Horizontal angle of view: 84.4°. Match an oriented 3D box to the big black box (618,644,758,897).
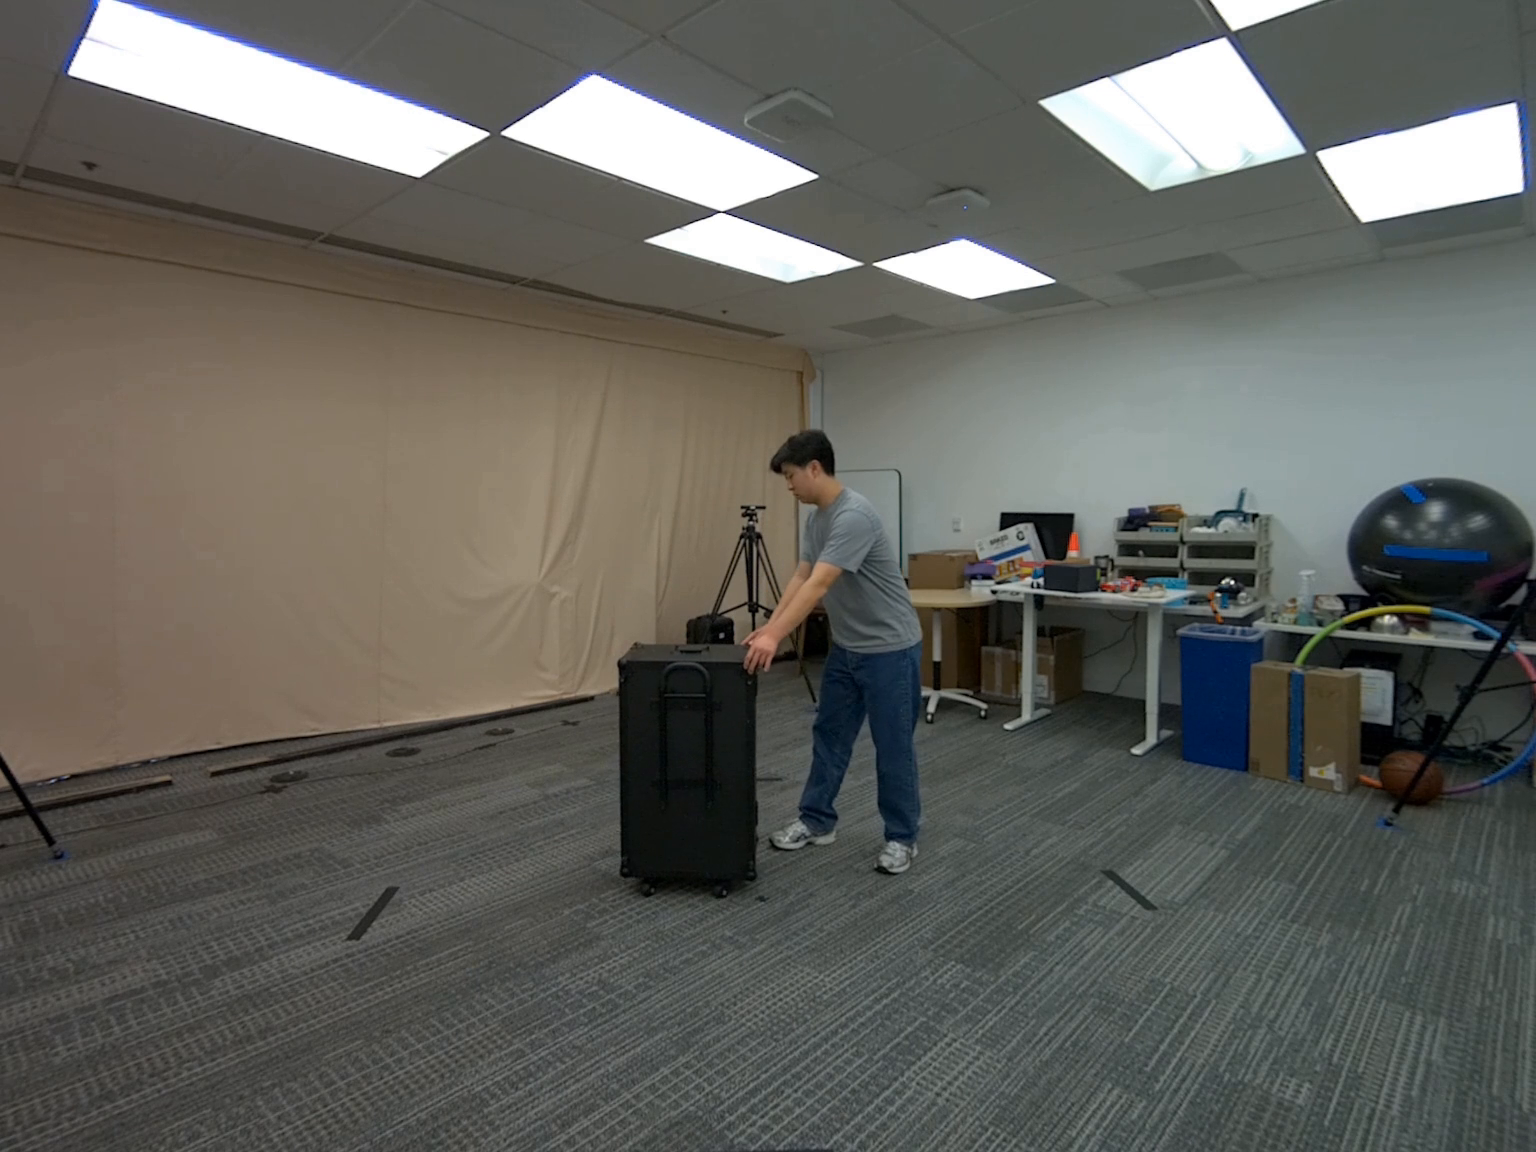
[{"bbox_3d":[-0.274,0.710,3.123,0.524,0.859,0.395,0,4,4],"label":"big black box"}]
